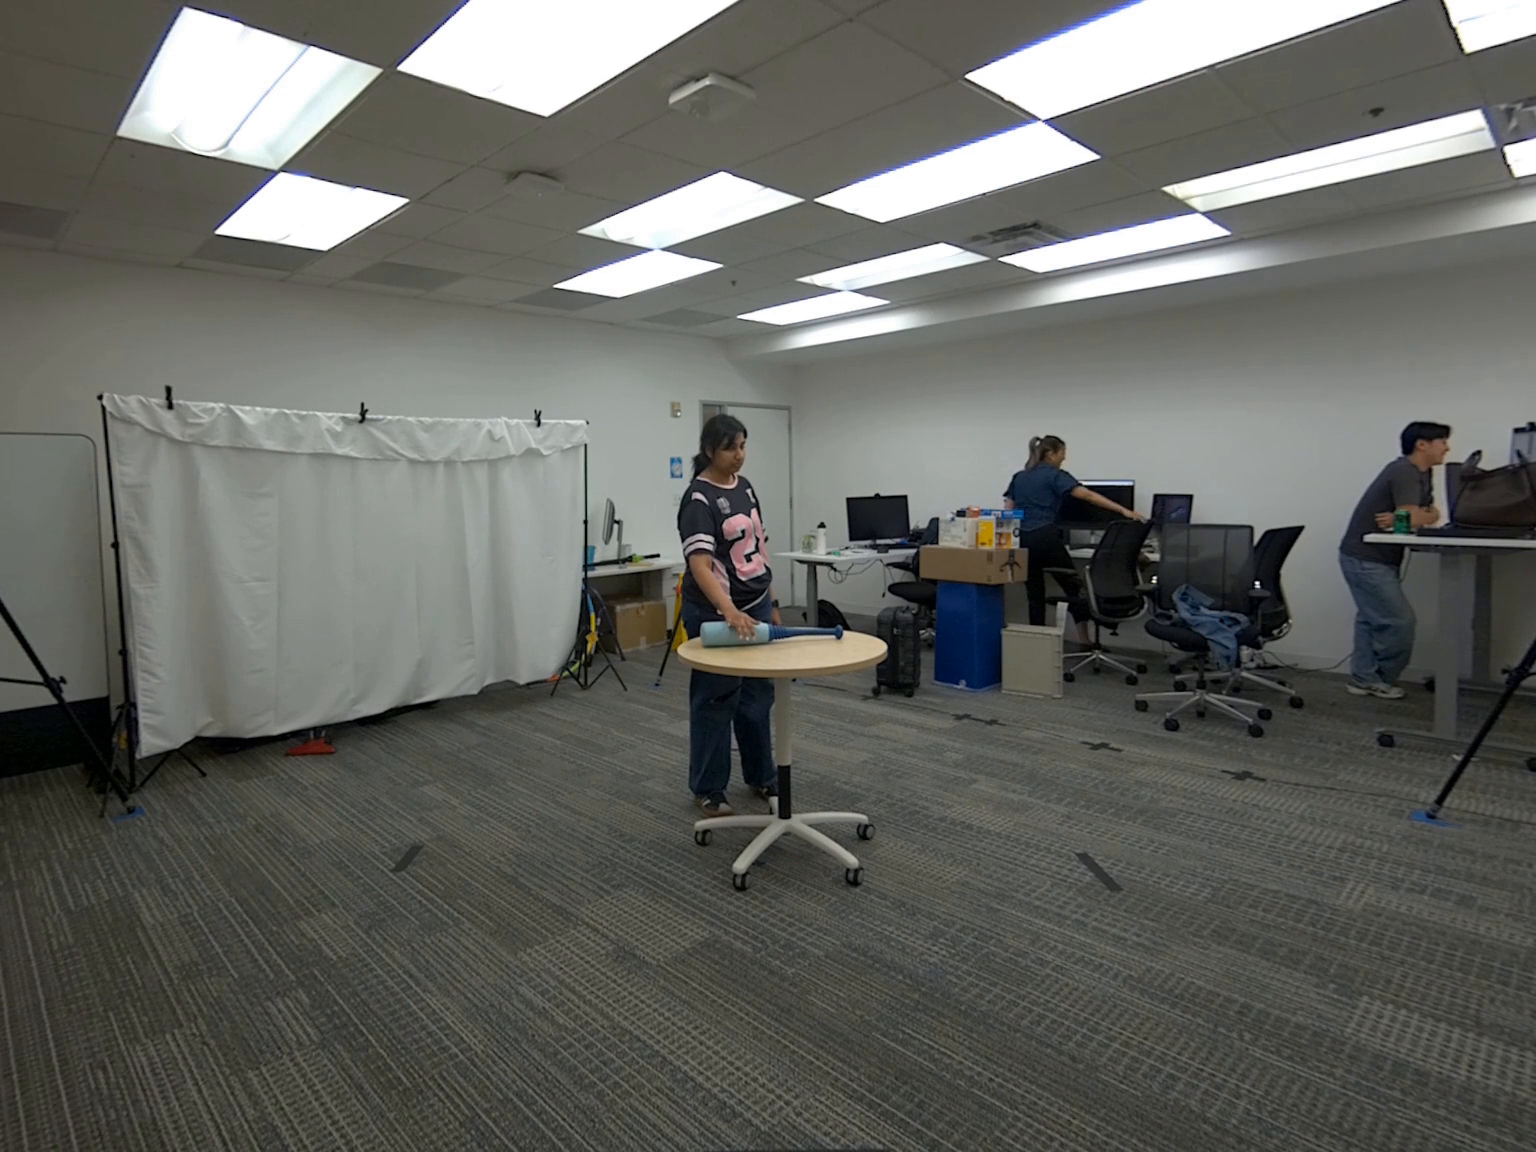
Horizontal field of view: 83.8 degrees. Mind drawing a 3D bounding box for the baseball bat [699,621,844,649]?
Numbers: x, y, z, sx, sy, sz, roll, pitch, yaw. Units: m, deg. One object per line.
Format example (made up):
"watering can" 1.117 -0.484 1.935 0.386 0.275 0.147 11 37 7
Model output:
"baseball bat" 0.016 0.216 3.204 0.537 0.089 0.090 0 4 -10
